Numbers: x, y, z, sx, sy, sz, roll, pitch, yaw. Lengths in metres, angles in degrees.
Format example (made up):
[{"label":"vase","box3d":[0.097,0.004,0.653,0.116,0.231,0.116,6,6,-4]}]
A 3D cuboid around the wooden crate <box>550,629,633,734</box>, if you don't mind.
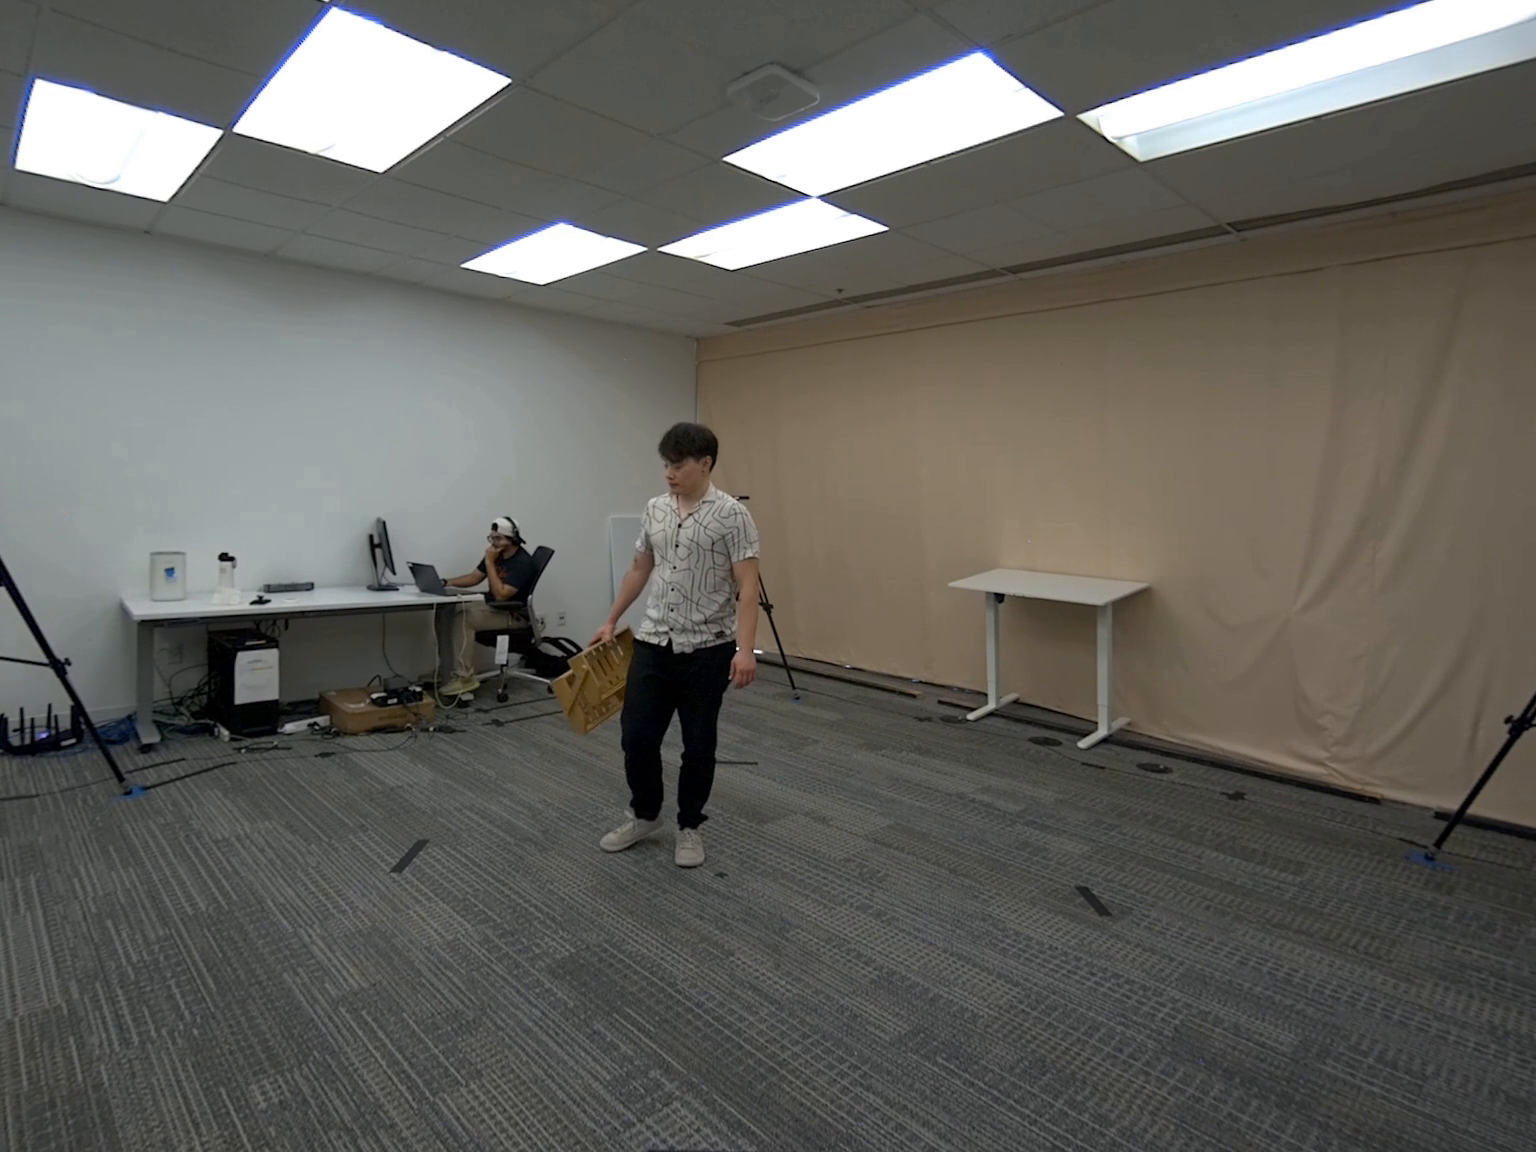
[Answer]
[{"label":"wooden crate","box3d":[-0.669,0.429,3.456,0.276,0.301,0.322,-27,4,37]}]
